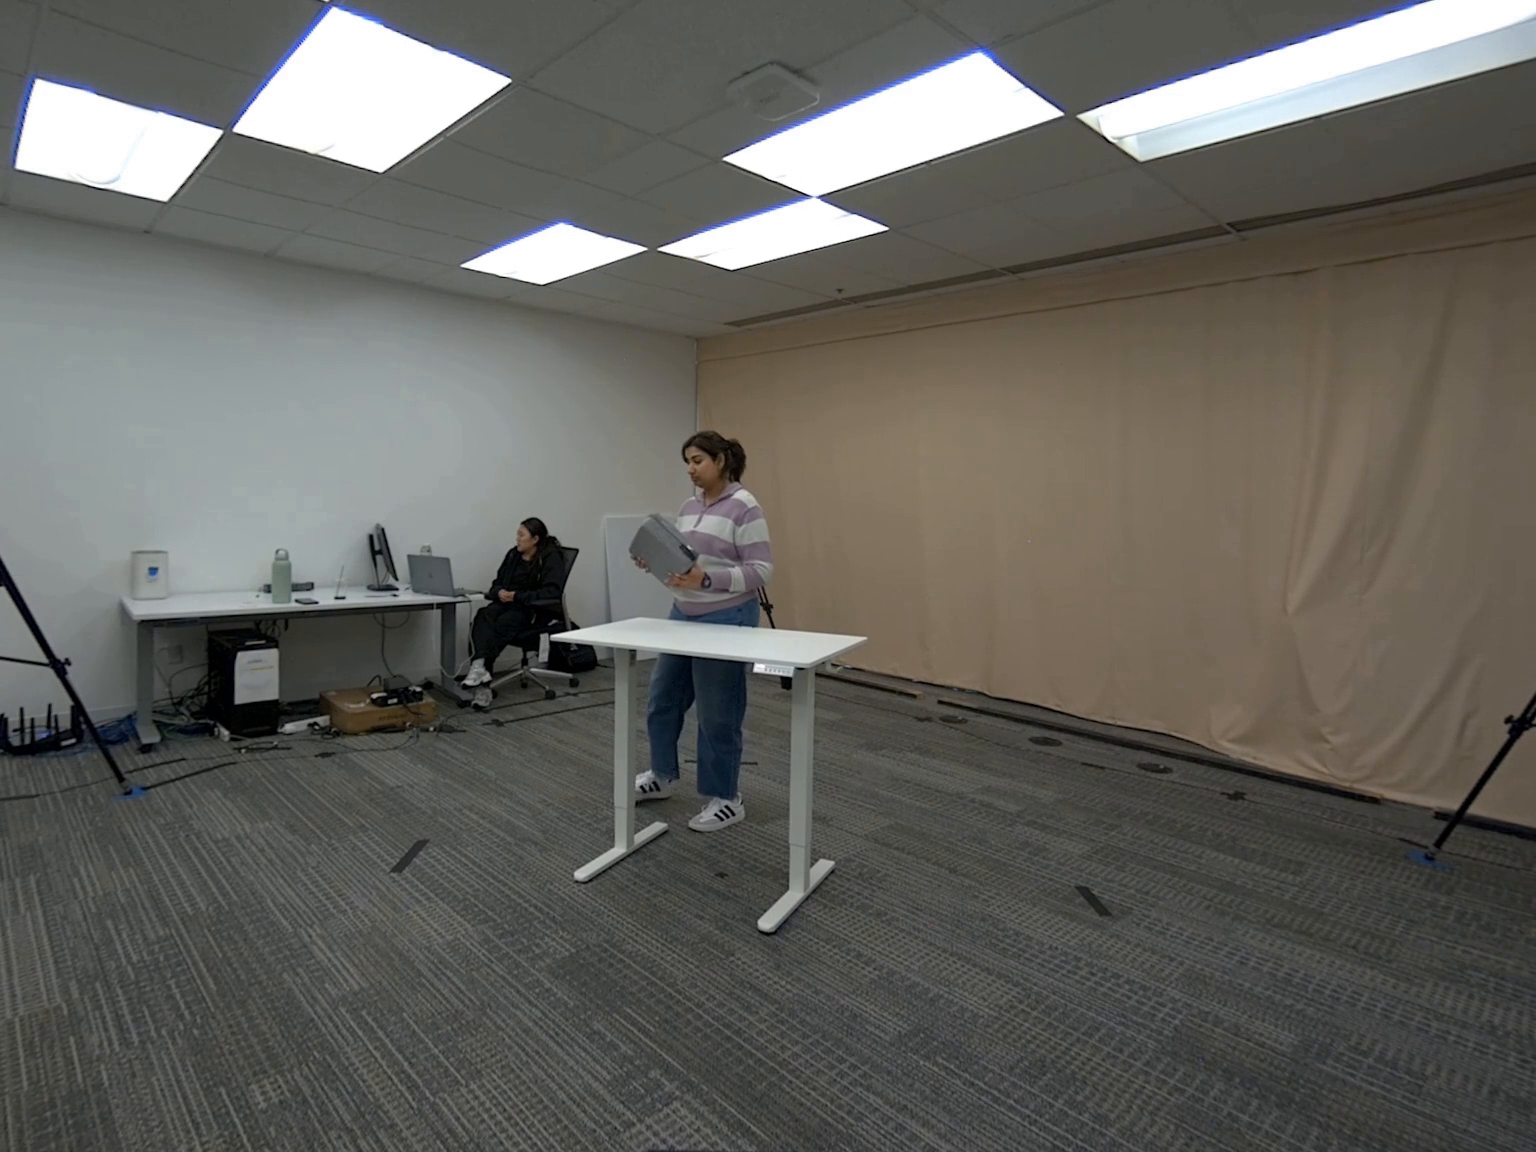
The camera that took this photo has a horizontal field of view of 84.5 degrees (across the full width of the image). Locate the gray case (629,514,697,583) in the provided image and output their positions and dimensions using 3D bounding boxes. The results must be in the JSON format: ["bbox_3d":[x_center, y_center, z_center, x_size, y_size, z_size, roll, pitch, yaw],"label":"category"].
[{"bbox_3d":[-0.433,-0.104,3.327,0.104,0.258,0.259,-45,-5,-33],"label":"gray case"}]
